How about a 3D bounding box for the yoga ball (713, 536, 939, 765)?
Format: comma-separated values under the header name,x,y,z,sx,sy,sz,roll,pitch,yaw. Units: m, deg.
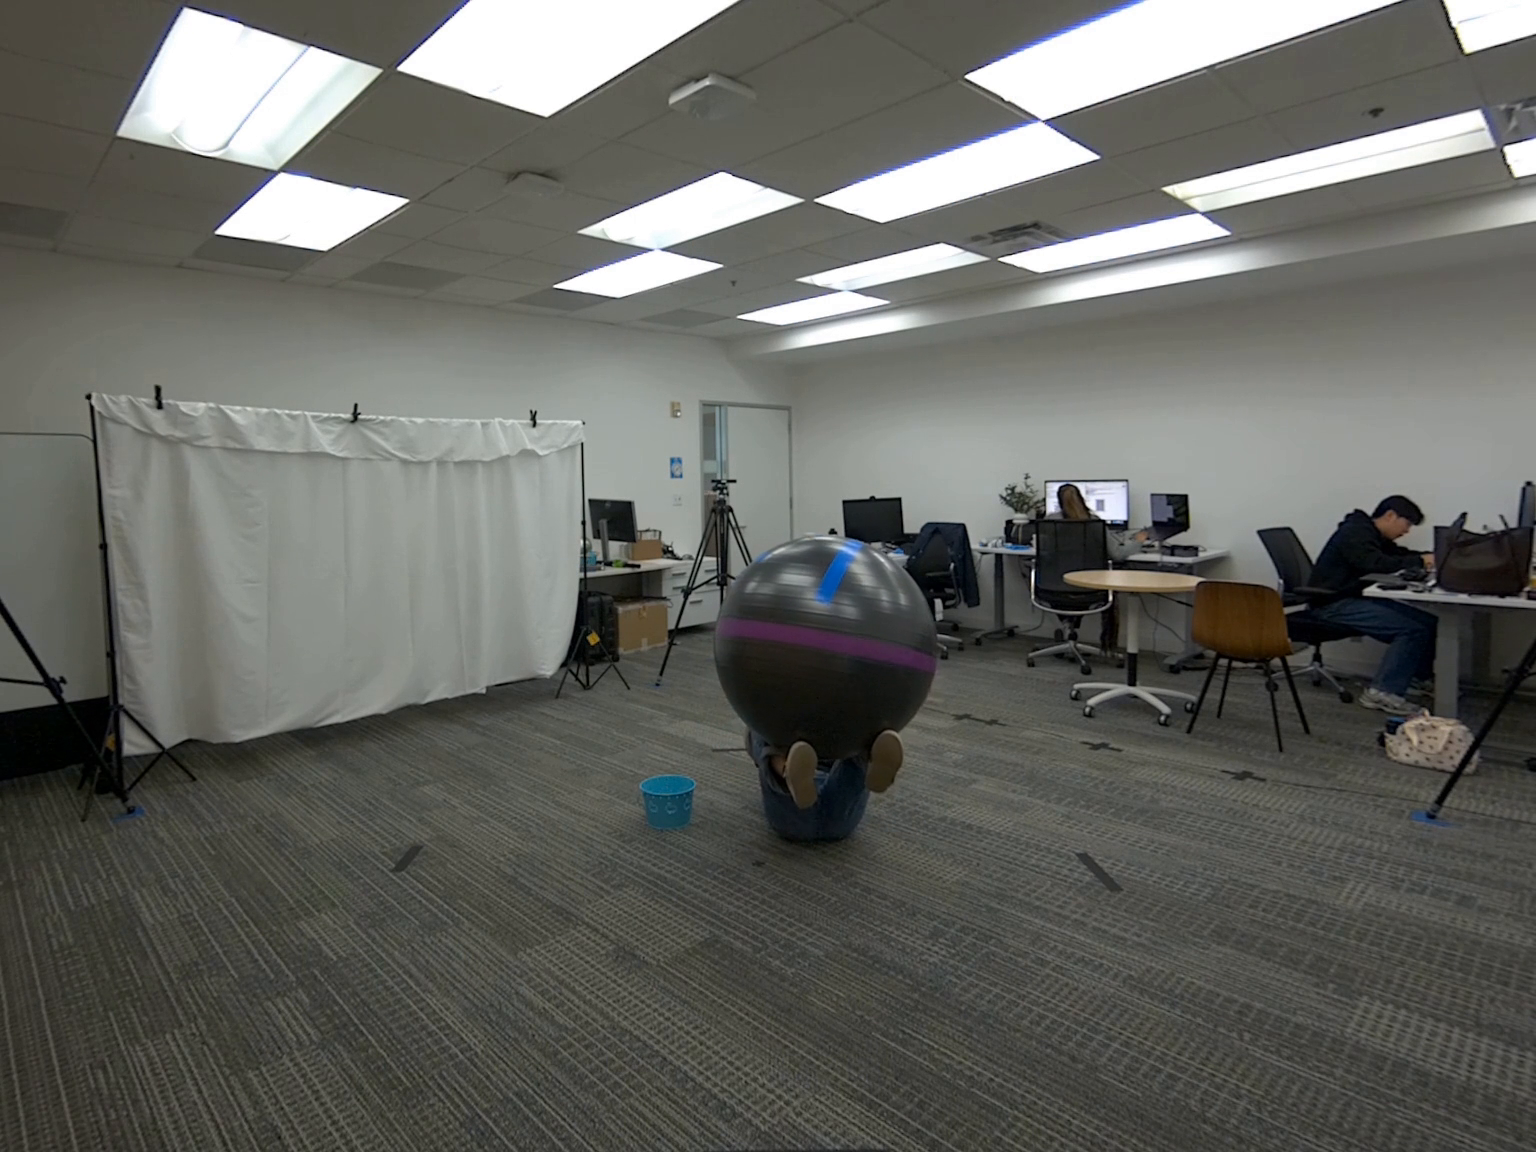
name,x,y,z,sx,sy,sz,roll,pitch,yaw
yoga ball,0.205,0.248,2.948,0.757,0.755,0.762,-1,5,-2
